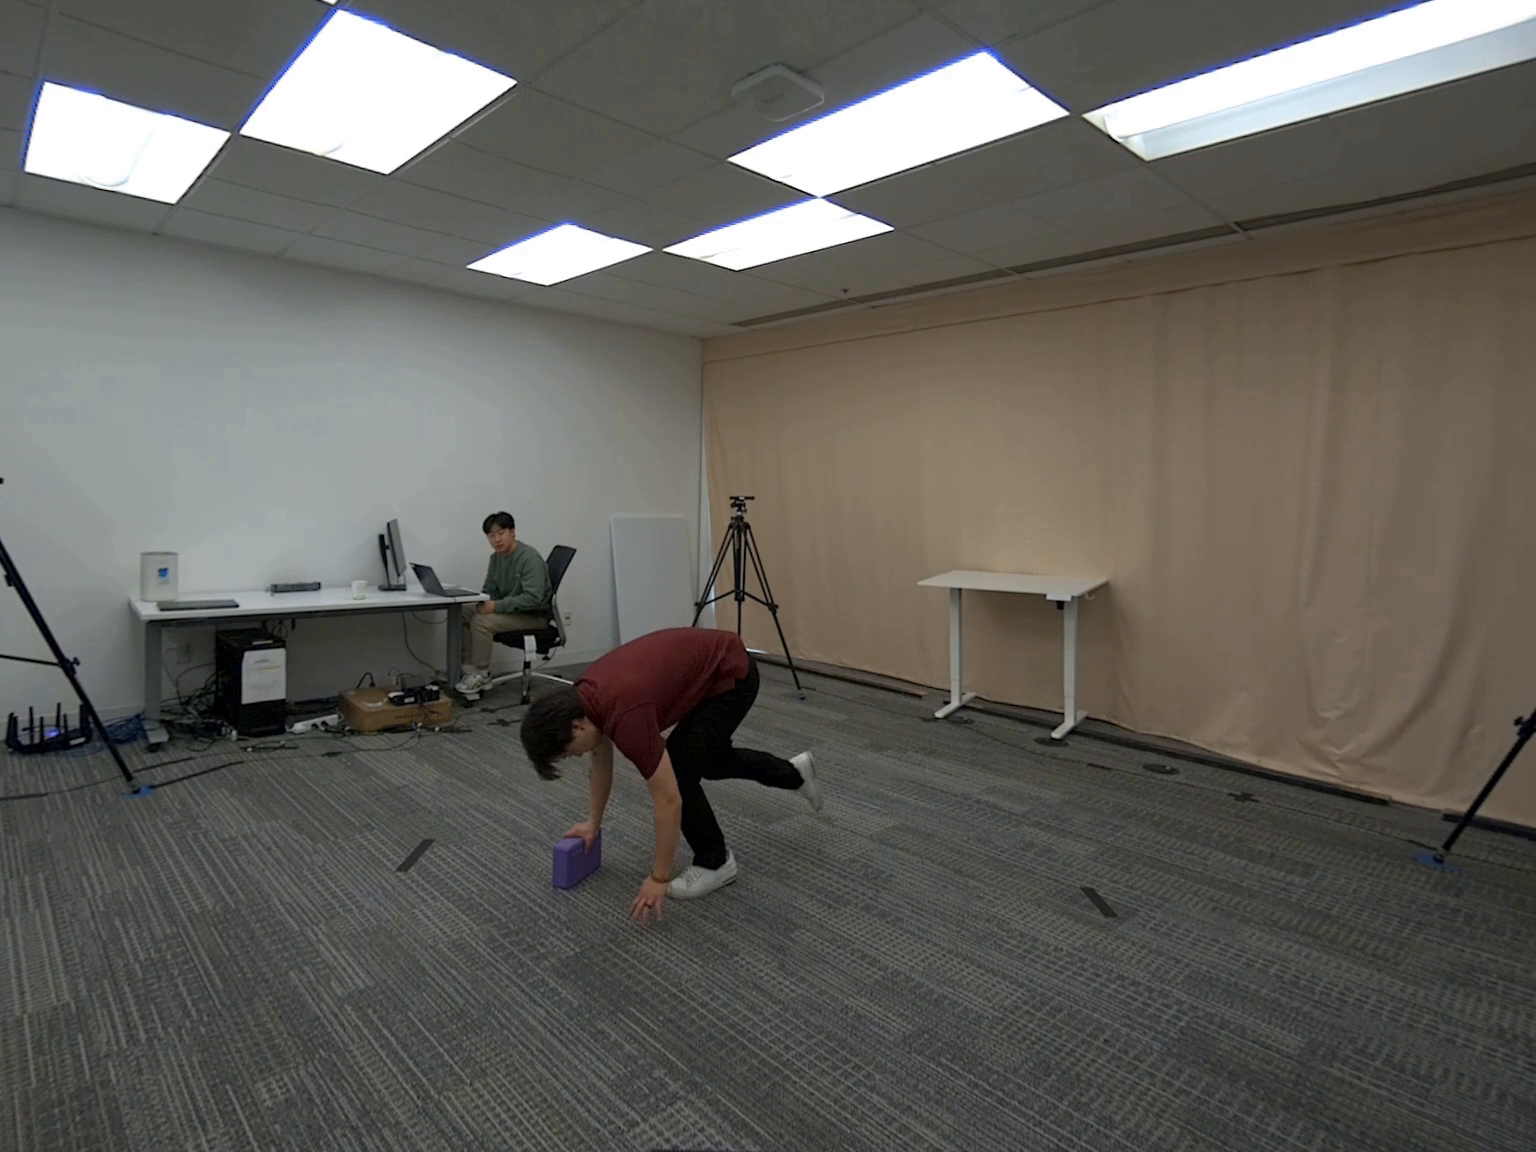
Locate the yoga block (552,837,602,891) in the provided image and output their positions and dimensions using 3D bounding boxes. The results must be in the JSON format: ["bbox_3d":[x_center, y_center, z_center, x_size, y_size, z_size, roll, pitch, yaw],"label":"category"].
[{"bbox_3d":[-0.692,1.019,3.063,0.077,0.148,0.226,3,5,18],"label":"yoga block"}]
